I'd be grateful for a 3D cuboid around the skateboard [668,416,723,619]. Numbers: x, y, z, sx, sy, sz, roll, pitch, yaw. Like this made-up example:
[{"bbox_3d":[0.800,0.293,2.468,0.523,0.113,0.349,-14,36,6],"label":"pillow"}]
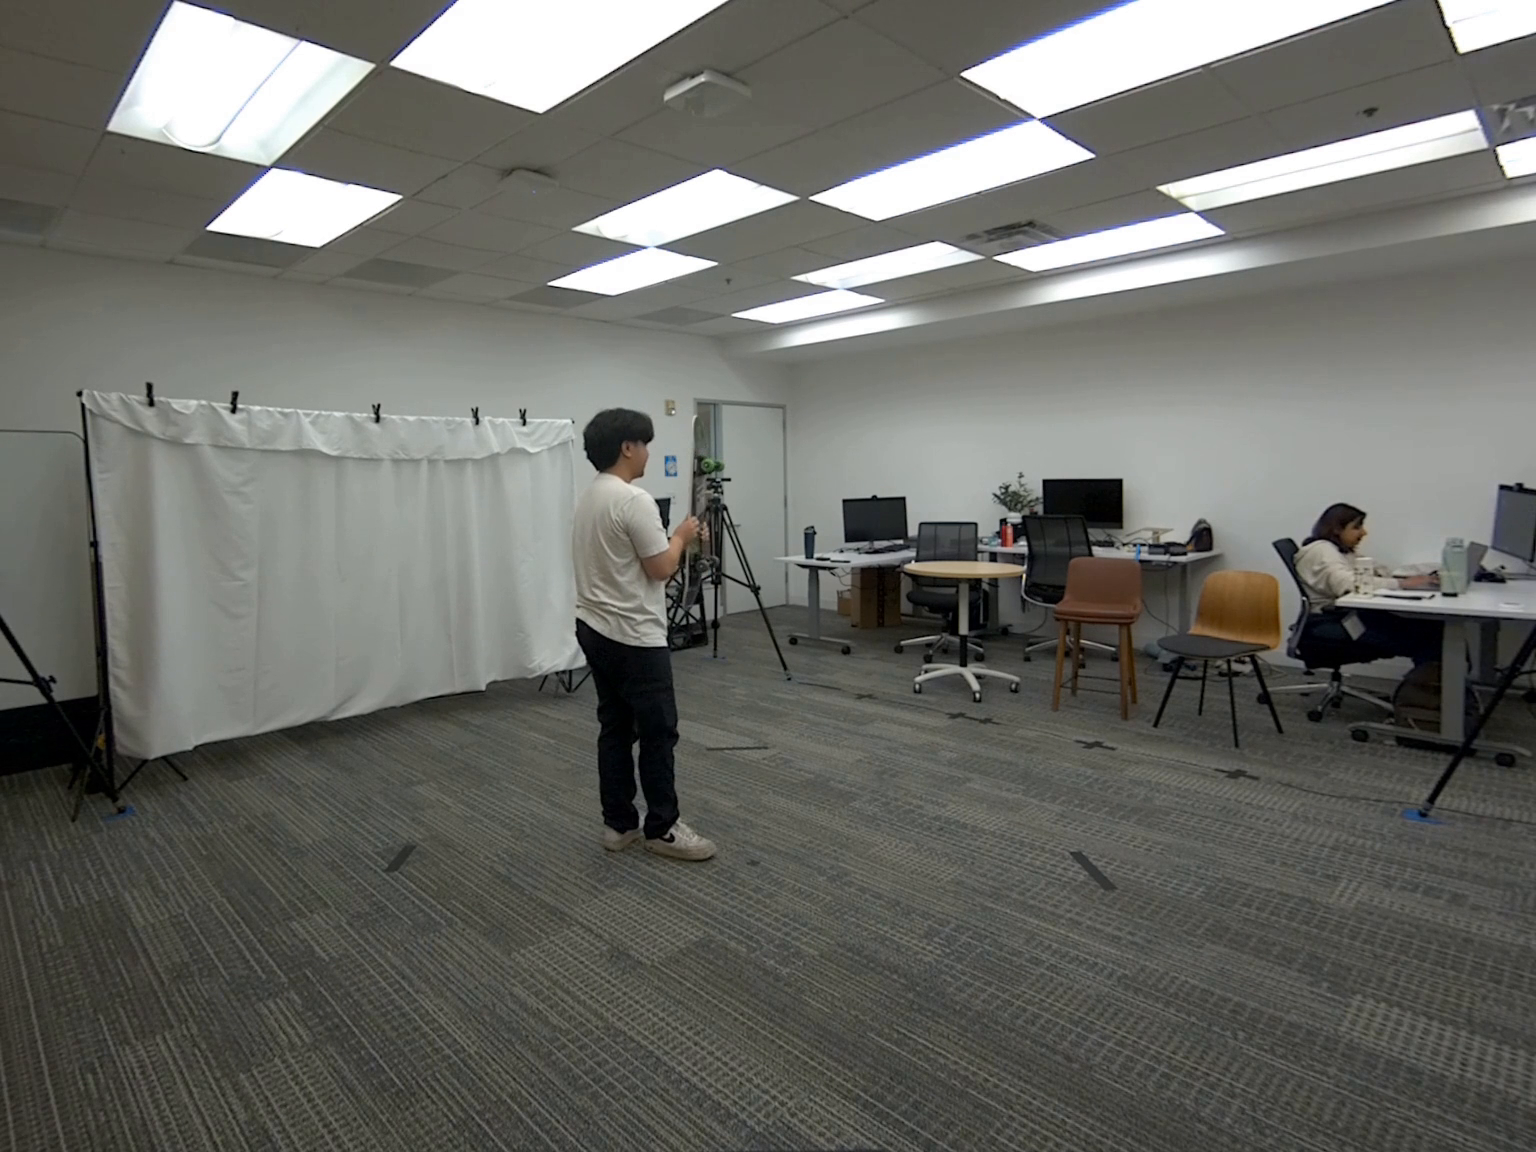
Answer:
[{"bbox_3d":[-0.265,-0.246,3.434,0.112,0.782,0.191,5,5,12],"label":"skateboard"}]
